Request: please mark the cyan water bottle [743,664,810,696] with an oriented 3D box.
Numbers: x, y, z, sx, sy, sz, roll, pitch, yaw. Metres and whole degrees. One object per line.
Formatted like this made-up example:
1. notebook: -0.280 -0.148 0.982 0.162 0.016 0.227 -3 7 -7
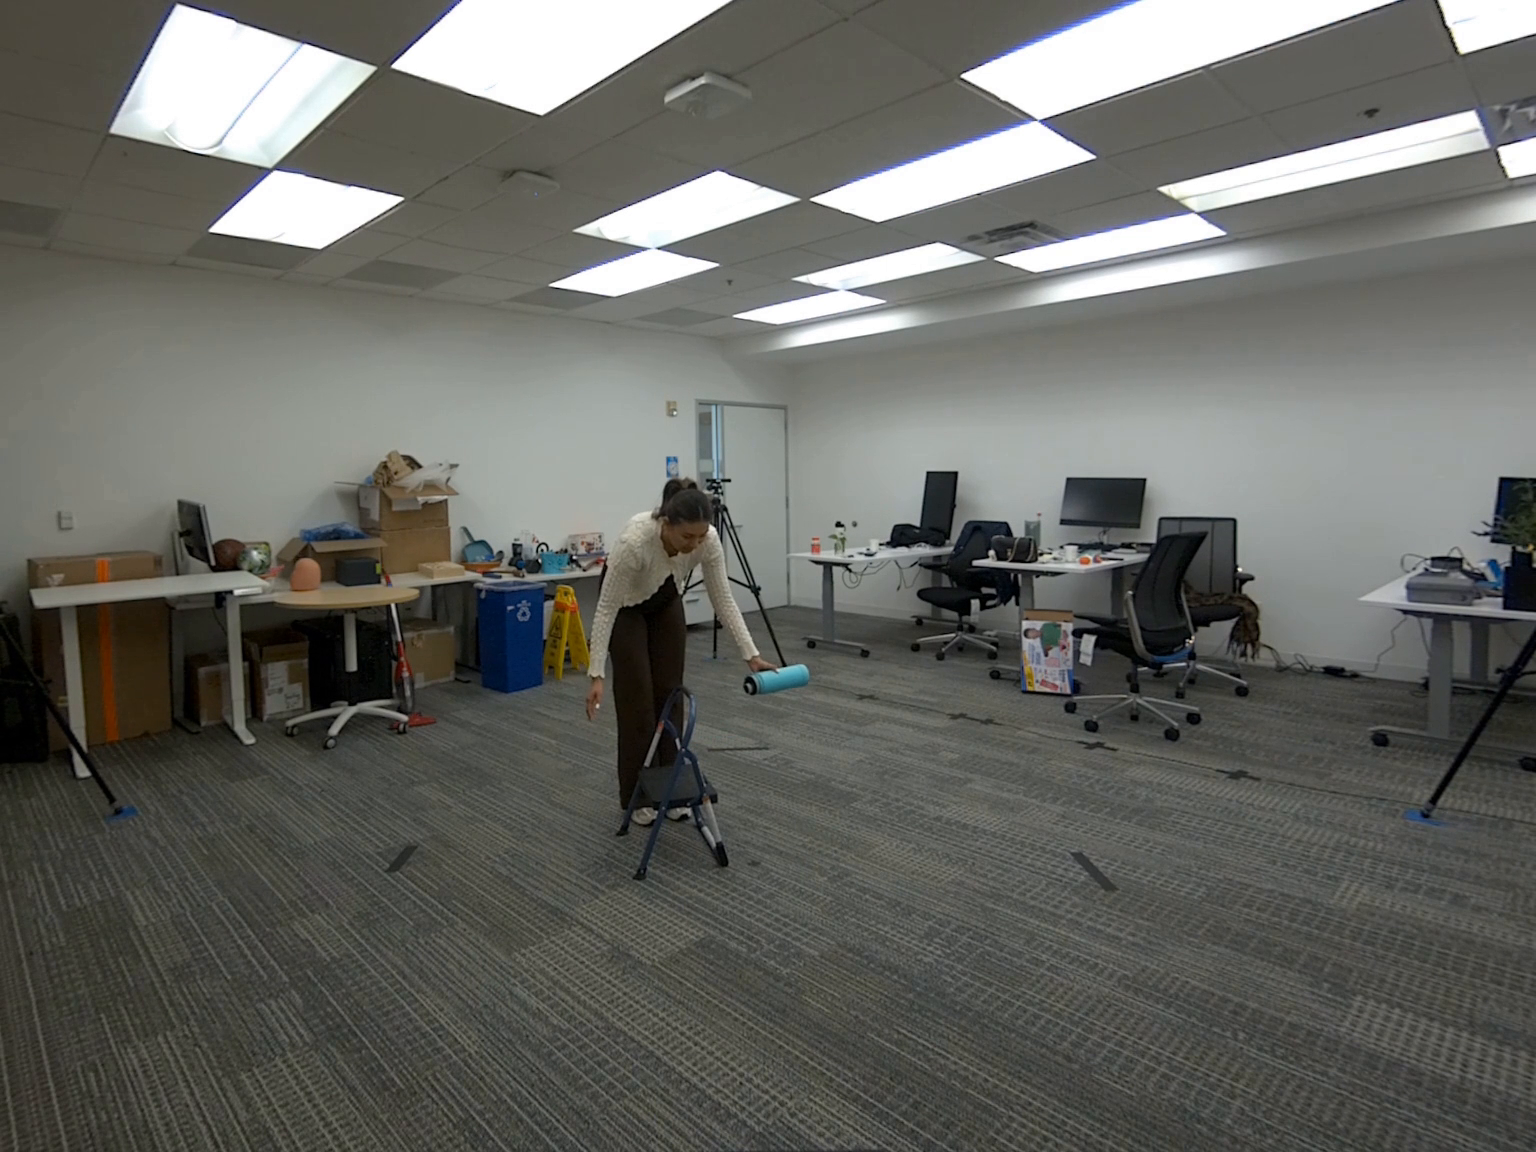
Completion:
1. cyan water bottle: 0.039 0.425 3.443 0.278 0.092 0.094 -7 7 -24
